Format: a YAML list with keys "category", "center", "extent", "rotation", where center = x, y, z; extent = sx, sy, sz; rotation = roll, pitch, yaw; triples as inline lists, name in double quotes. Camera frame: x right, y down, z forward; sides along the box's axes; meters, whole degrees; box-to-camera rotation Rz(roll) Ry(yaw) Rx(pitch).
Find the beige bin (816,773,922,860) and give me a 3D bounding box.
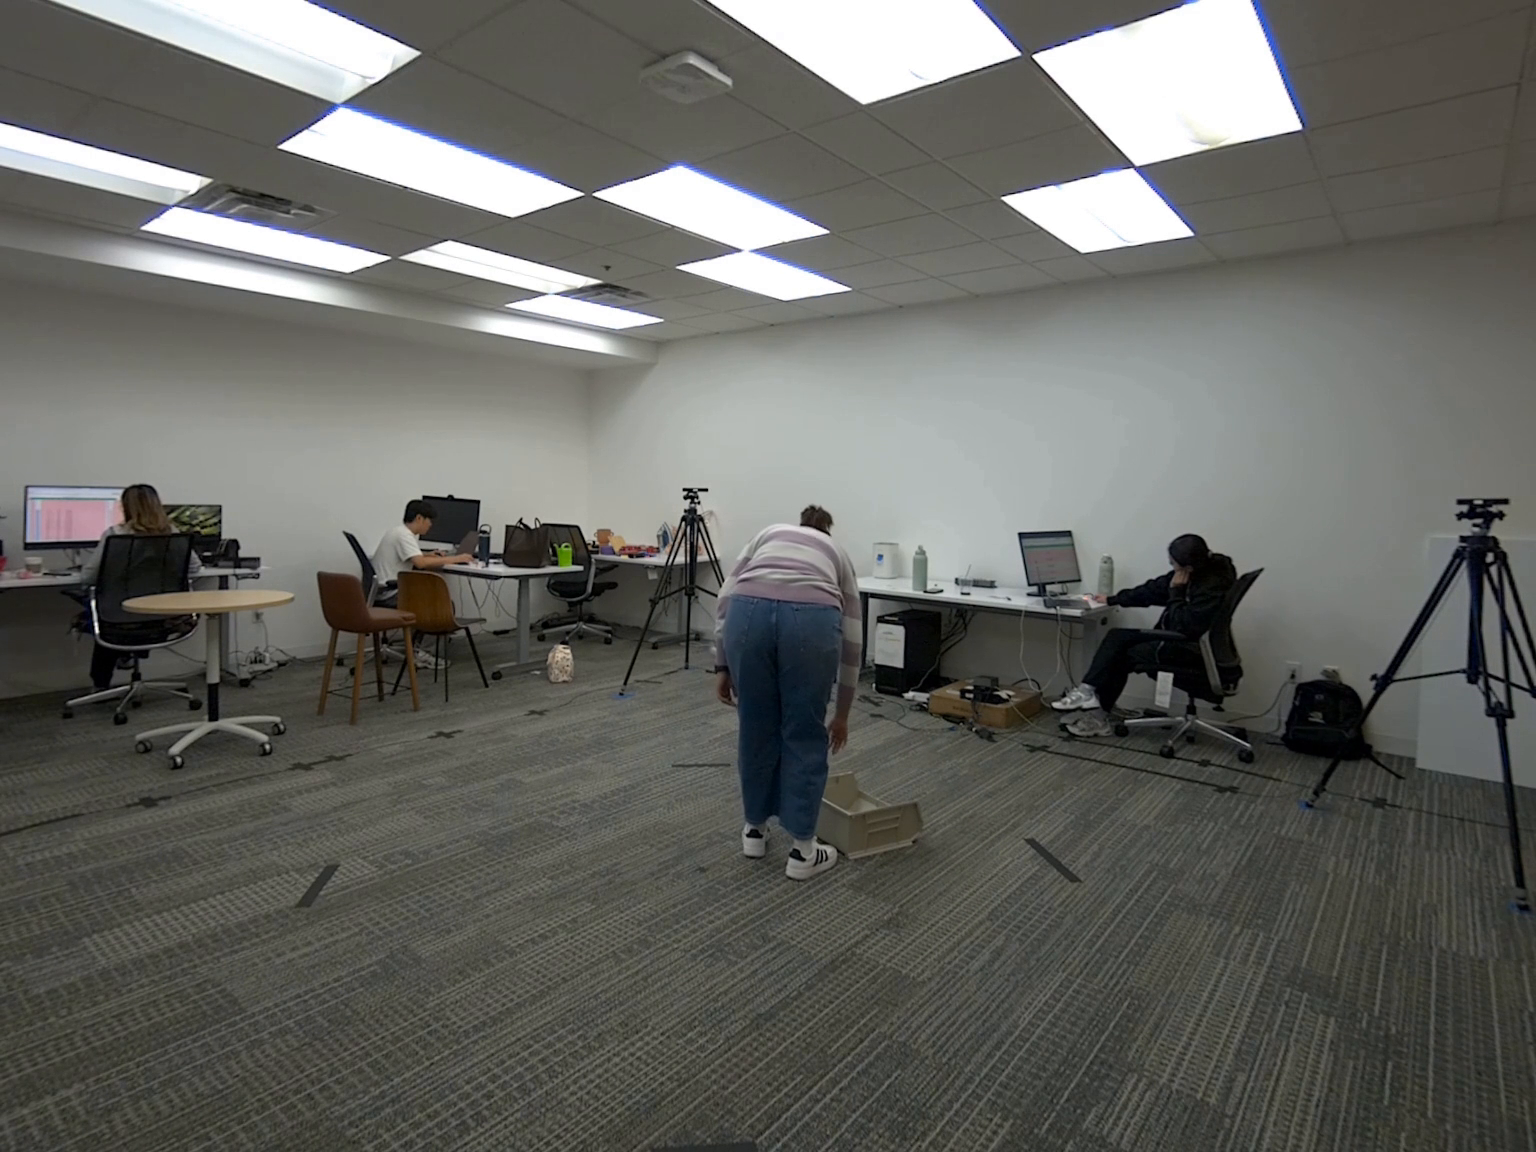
- category: "beige bin"
  center: [0.343, 0.954, 3.474]
  extent: [0.367, 0.188, 0.435]
  rotation: [-3, 7, -31]
